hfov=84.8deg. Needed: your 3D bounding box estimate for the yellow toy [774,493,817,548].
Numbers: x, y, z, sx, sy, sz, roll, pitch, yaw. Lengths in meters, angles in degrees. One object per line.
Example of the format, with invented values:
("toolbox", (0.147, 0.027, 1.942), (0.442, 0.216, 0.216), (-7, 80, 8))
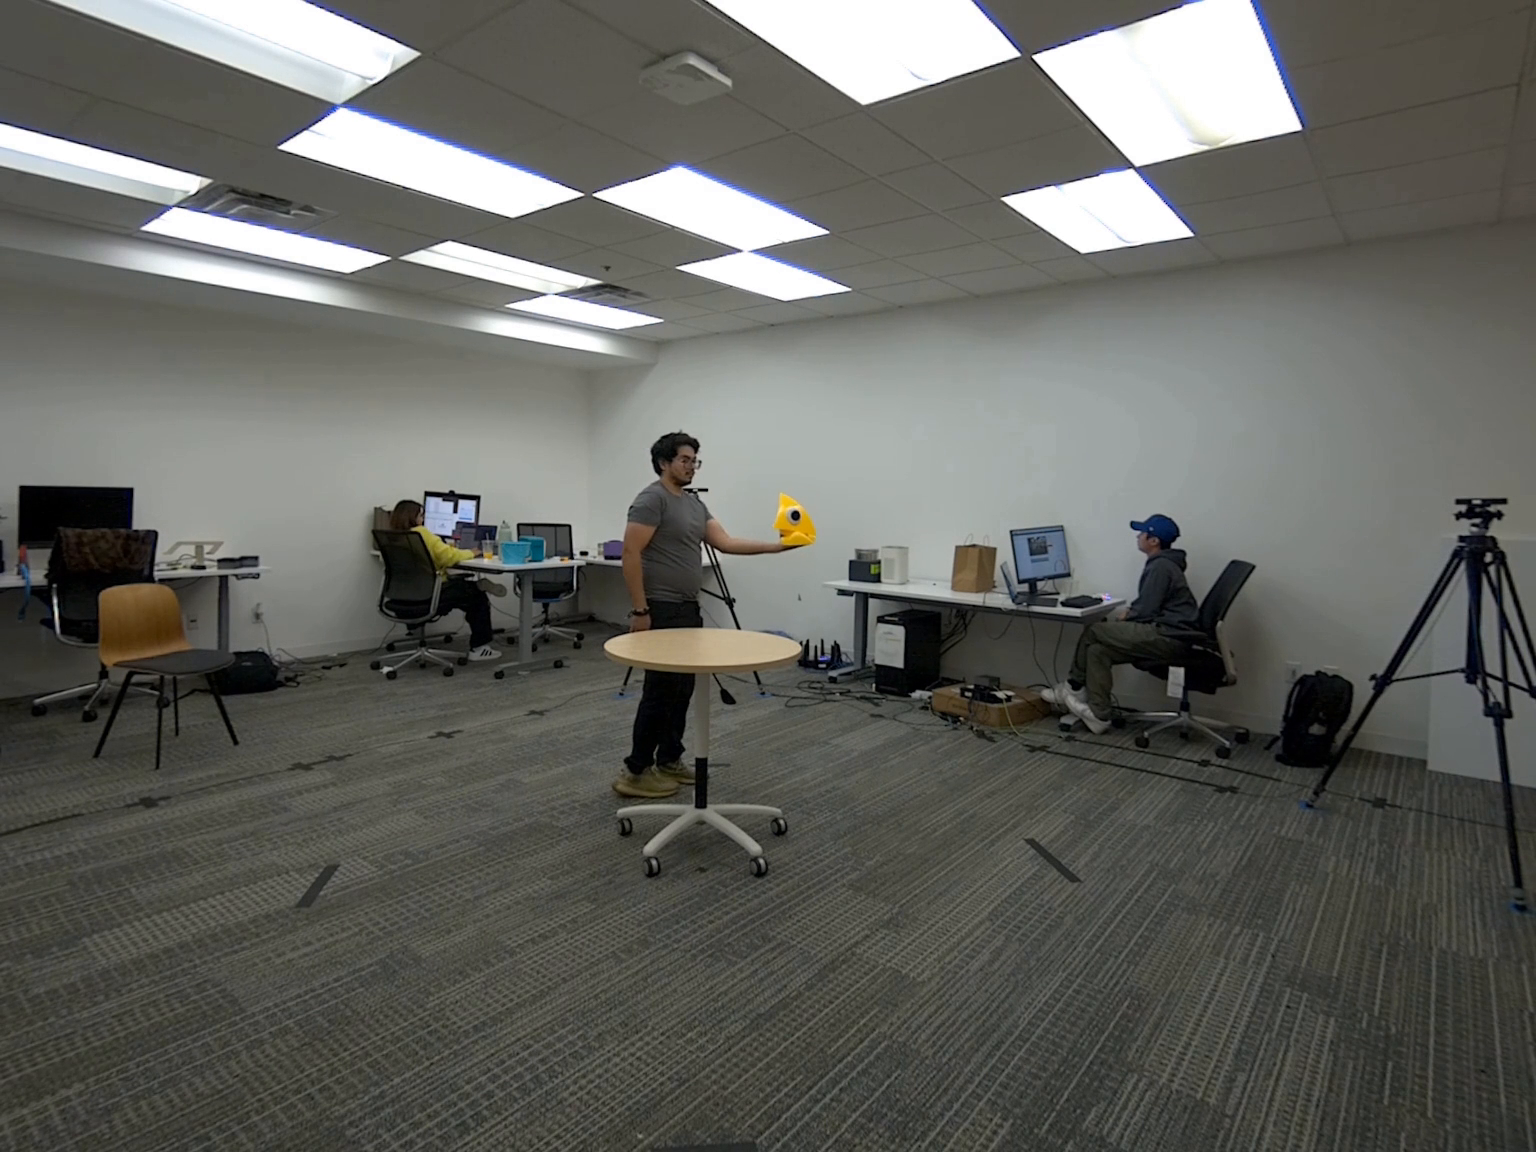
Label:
("yellow toy", (0.109, -0.275, 3.911), (0.195, 0.228, 0.204), (-2, 10, 9))
